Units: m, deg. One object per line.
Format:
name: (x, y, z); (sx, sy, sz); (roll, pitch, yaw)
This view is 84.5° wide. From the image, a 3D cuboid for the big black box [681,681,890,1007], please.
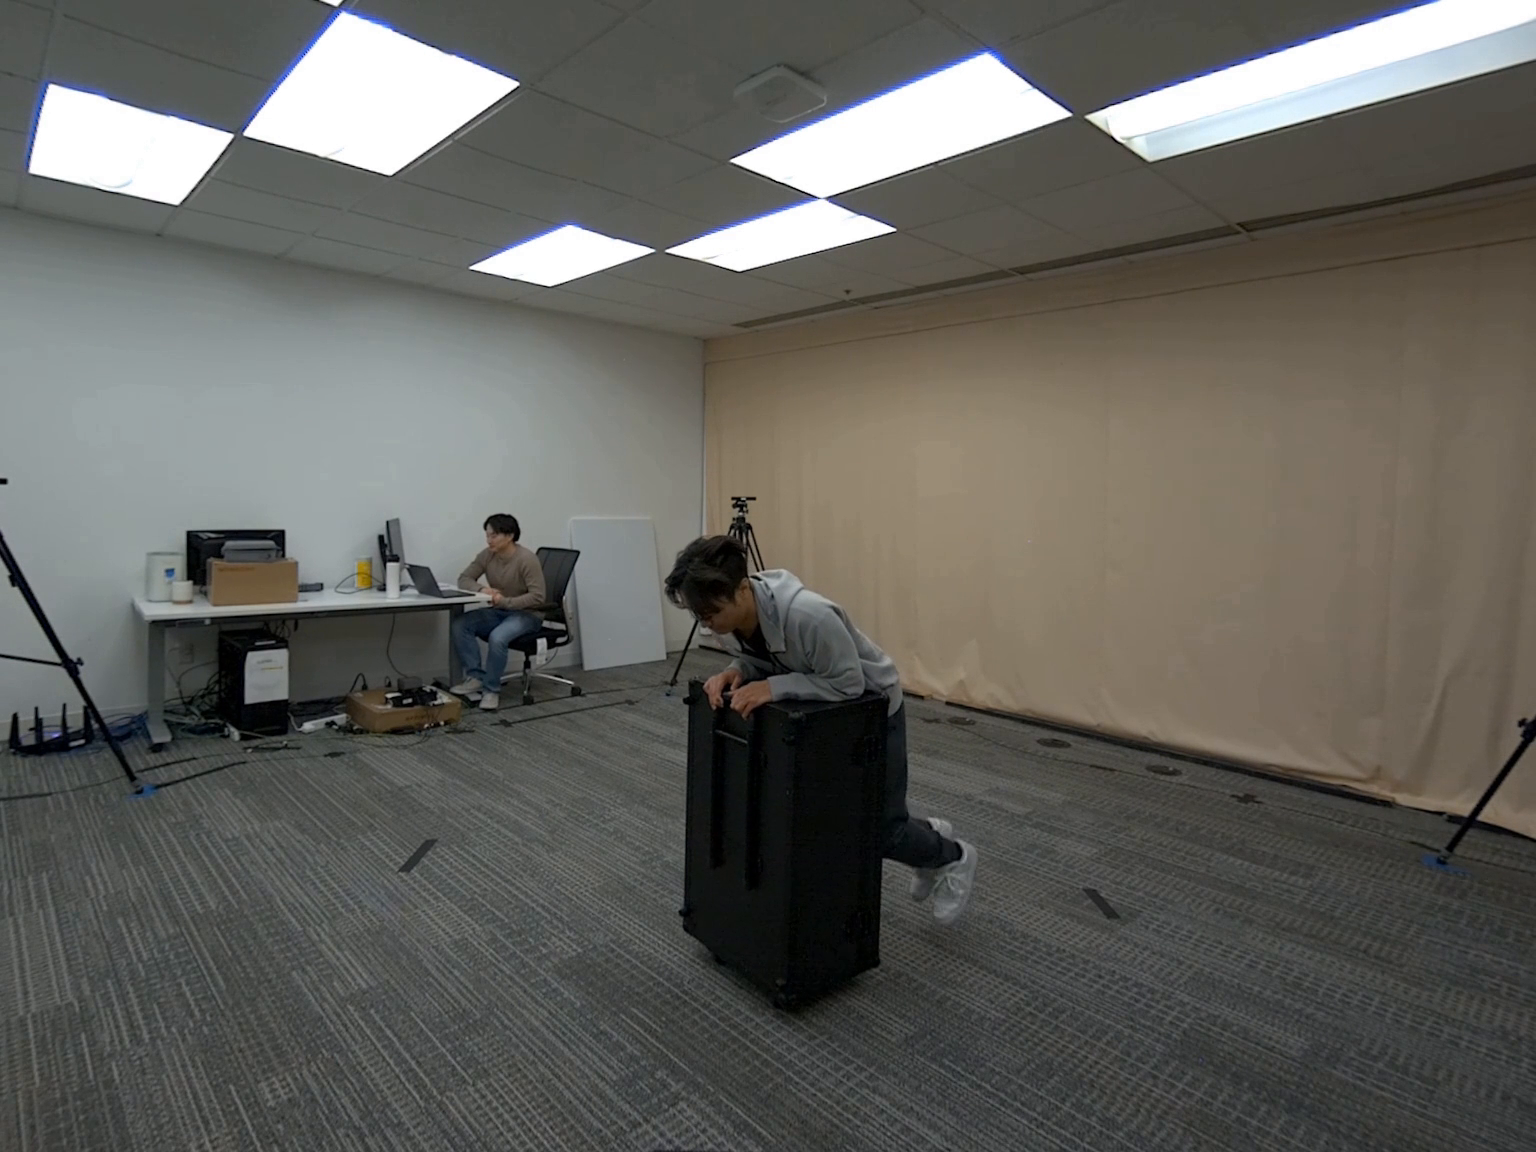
big black box: (0.032, 0.754, 2.448); (0.387, 0.859, 0.534); (-2, 5, -38)
